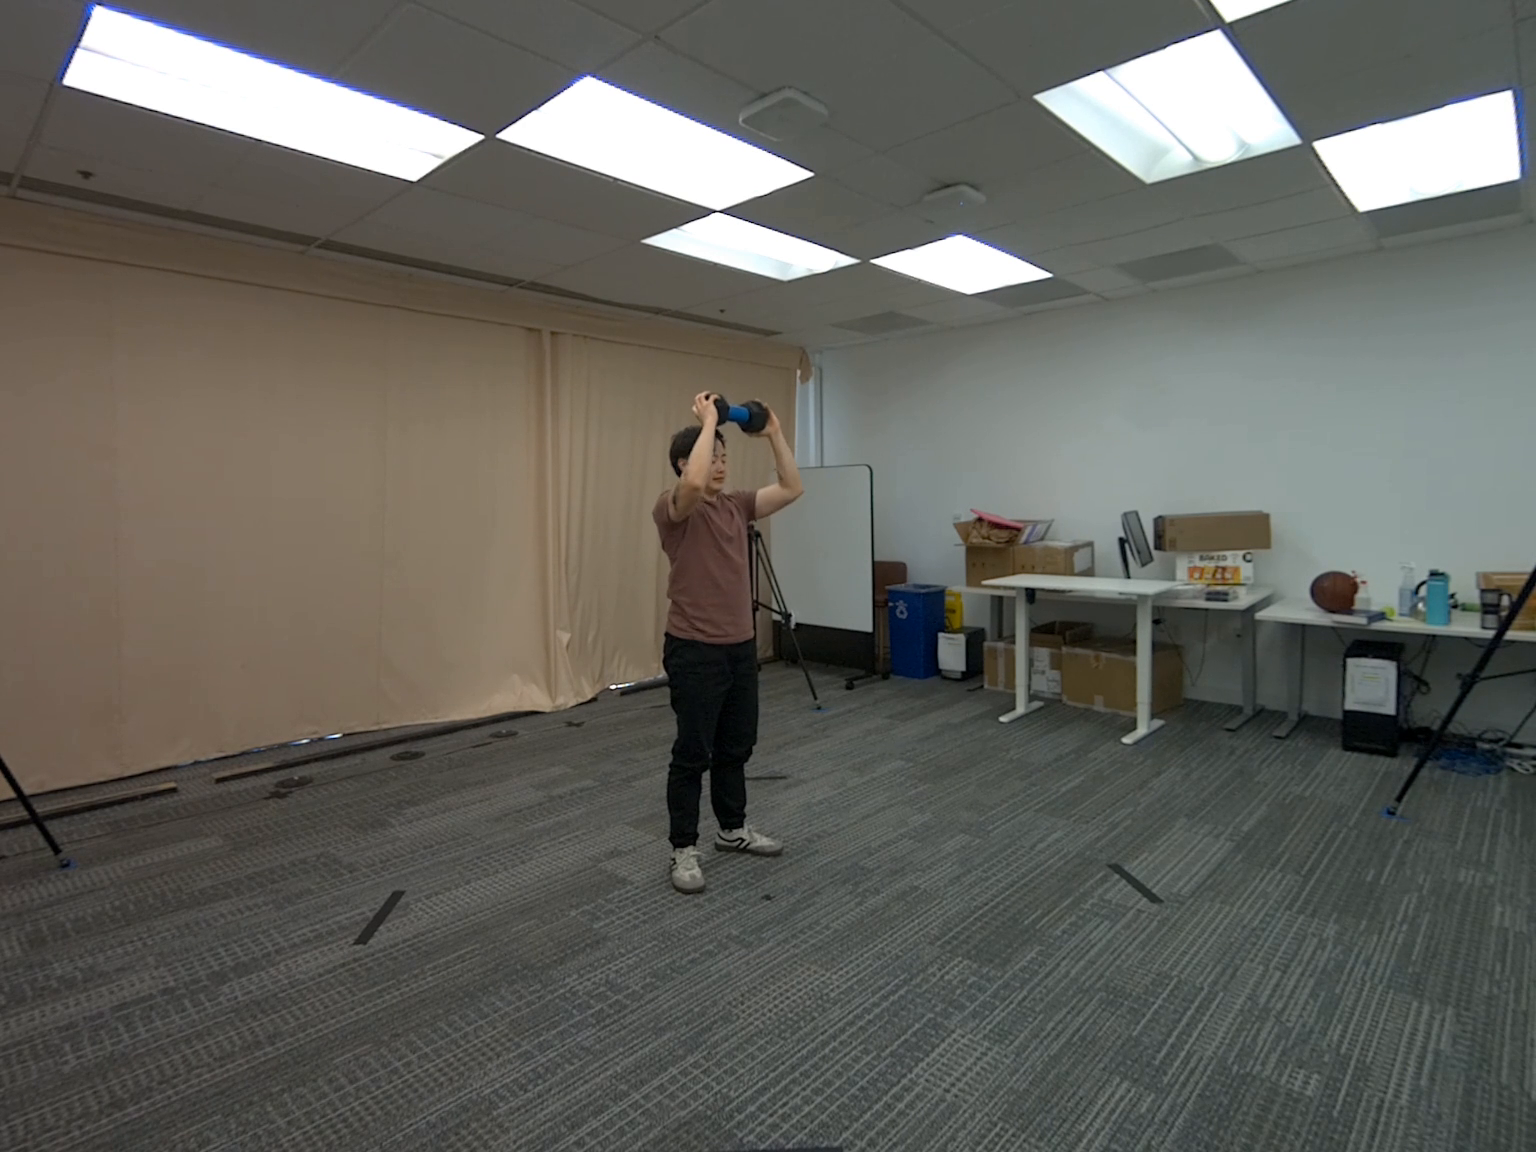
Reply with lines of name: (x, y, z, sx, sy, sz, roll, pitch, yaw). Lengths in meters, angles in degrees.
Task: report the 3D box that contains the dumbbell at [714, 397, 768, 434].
dumbbell: (-0.125, -0.593, 3.119, 0.284, 0.126, 0.109, -3, -38, -48)
